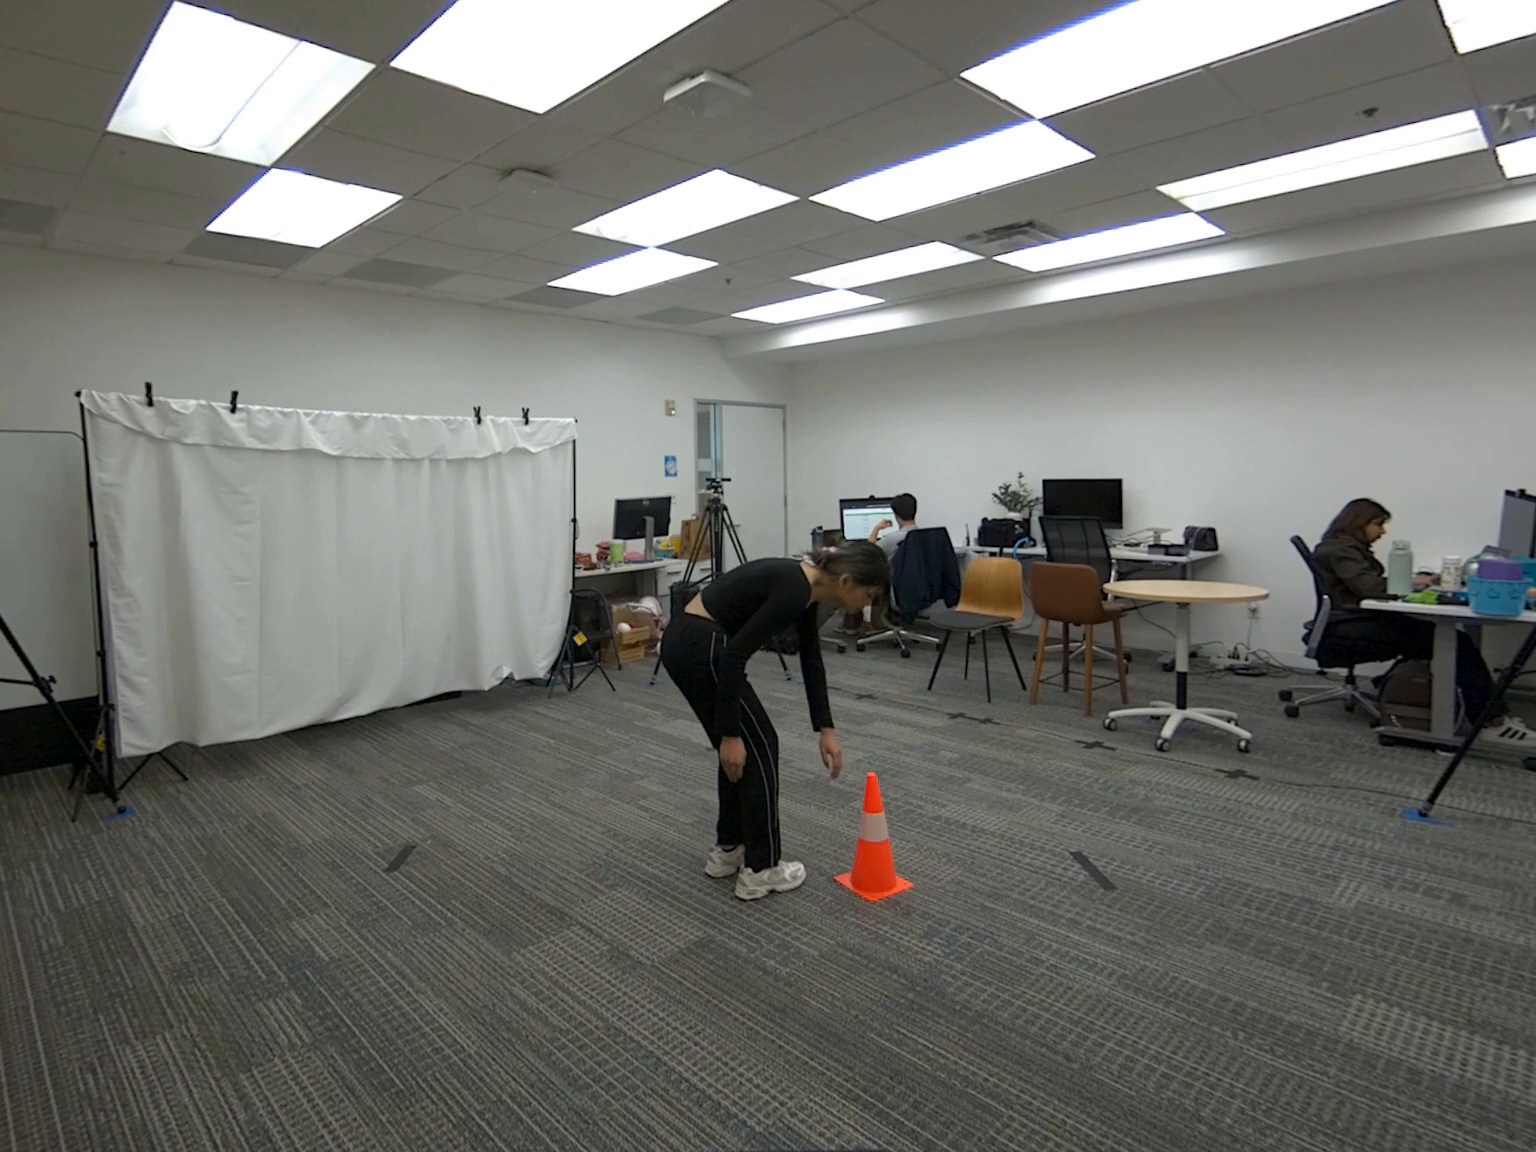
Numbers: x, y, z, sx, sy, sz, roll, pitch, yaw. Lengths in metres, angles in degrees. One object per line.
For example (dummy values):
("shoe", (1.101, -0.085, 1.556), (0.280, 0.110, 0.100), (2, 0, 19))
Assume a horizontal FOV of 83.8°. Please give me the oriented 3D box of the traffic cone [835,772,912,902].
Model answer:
("traffic cone", (0.359, 0.863, 2.928), (0.198, 0.382, 0.211), (-4, 5, -36))
